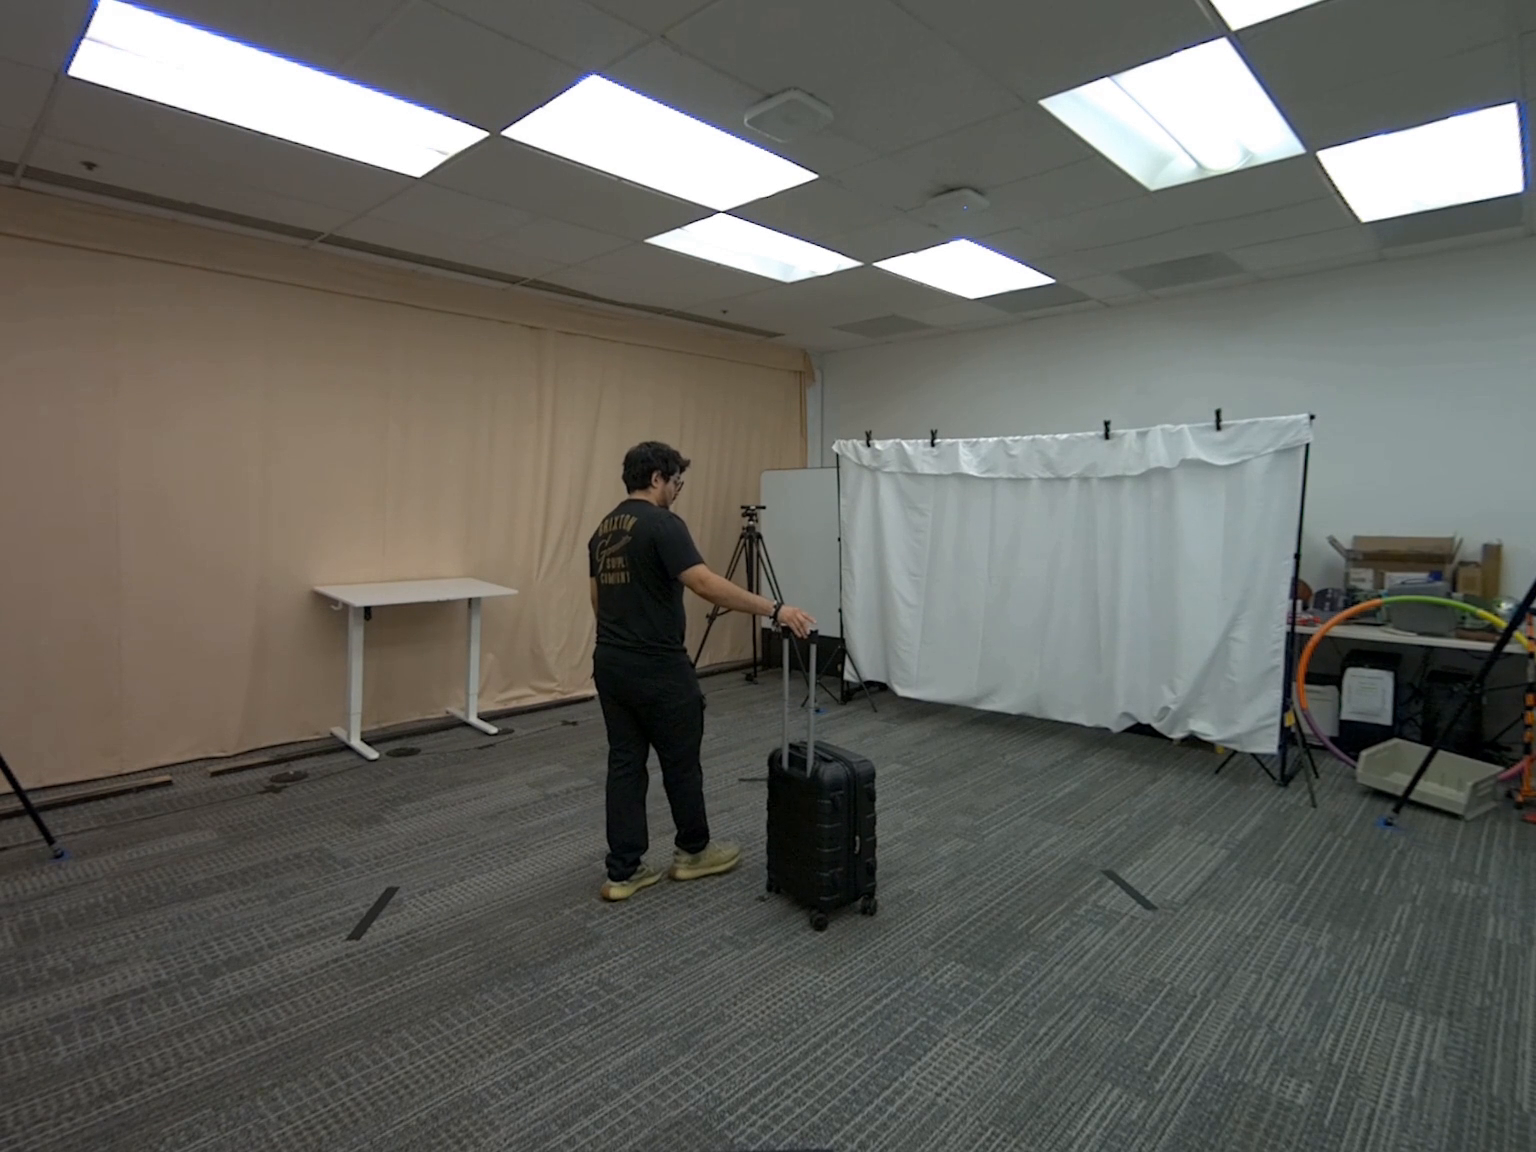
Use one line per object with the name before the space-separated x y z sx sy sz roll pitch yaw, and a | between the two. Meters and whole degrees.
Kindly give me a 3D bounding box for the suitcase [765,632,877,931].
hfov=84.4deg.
suitcase | 0.194 0.673 2.935 0.250 0.977 0.396 0 3 -32
